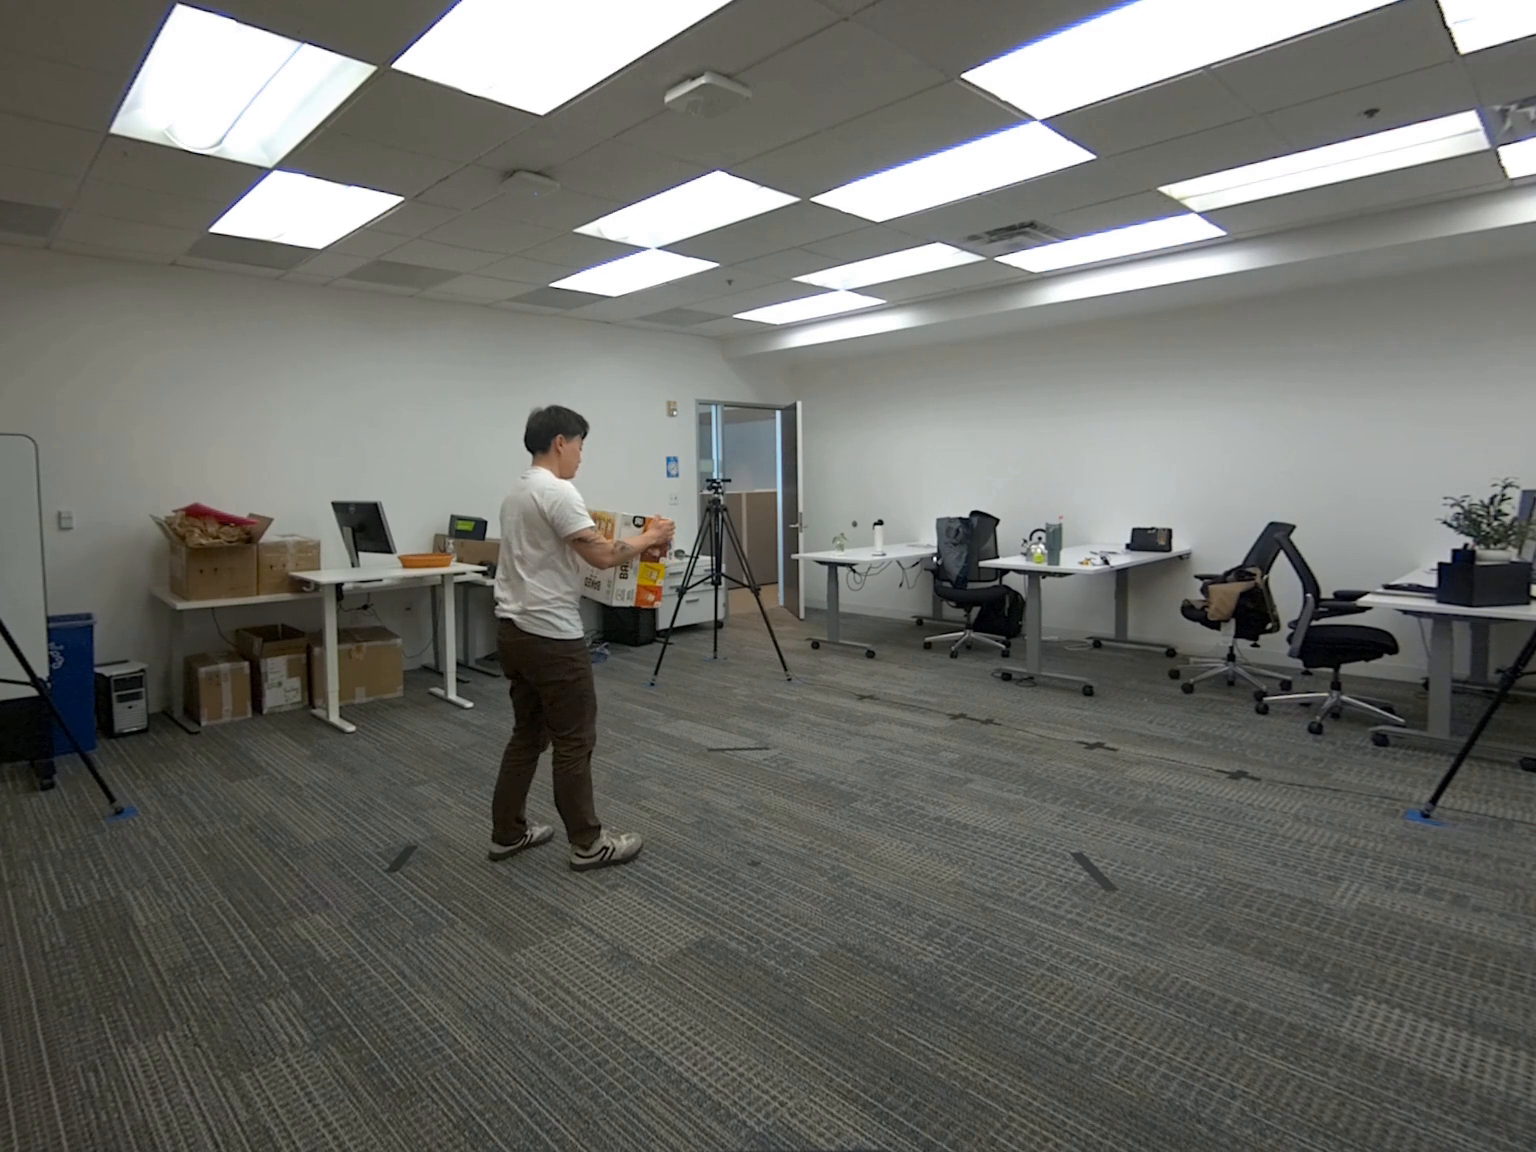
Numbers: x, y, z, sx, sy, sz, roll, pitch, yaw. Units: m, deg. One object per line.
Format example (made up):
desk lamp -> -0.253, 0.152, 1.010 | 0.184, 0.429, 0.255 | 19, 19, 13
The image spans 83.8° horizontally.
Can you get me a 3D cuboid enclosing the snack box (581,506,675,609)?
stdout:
snack box -> -0.572, -0.082, 3.328 | 0.200, 0.339, 0.418 | 5, 4, -34
